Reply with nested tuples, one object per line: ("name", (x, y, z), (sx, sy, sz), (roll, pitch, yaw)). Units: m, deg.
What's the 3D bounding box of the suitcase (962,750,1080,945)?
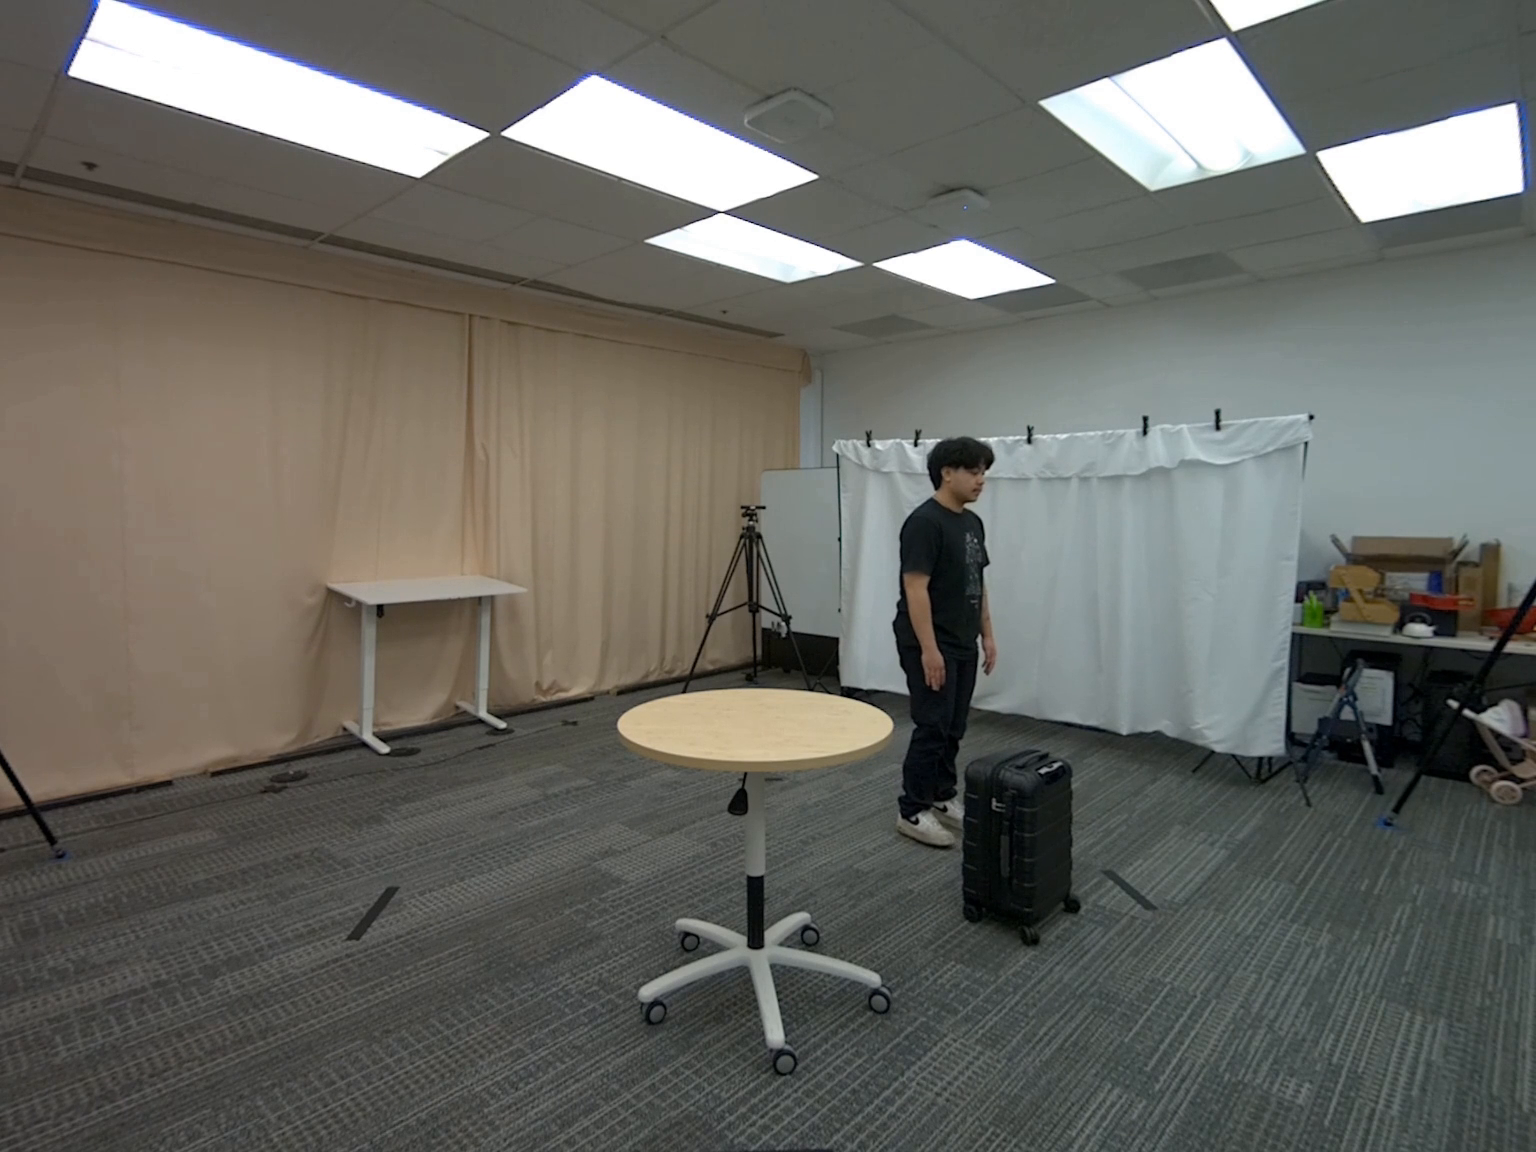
("suitcase", (0.852, 0.876, 2.858), (0.256, 0.548, 0.364), (1, 3, 42))
